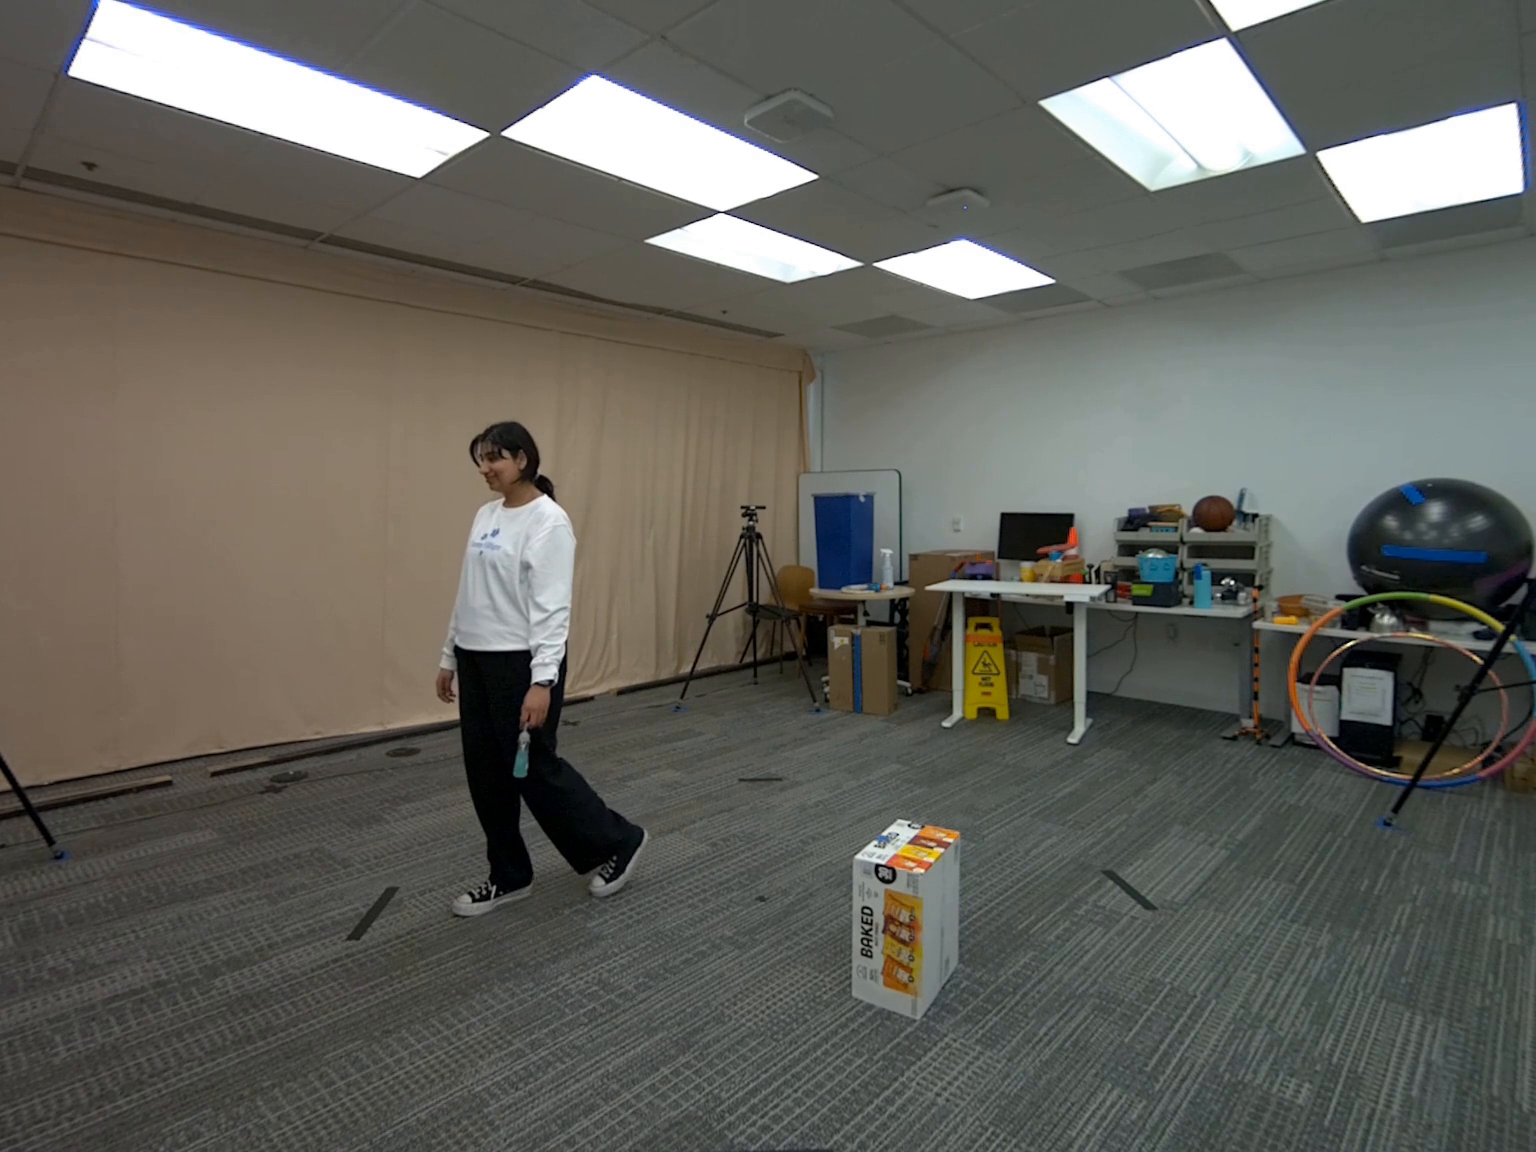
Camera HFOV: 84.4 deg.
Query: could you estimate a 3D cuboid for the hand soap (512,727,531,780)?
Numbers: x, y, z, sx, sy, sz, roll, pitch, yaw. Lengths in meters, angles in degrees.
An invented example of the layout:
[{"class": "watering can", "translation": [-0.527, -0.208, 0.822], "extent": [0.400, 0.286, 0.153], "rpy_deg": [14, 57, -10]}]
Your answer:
[{"class": "hand soap", "translation": [-0.750, 0.542, 2.666], "extent": [0.043, 0.168, 0.085], "rpy_deg": [4, 4, -8]}]
